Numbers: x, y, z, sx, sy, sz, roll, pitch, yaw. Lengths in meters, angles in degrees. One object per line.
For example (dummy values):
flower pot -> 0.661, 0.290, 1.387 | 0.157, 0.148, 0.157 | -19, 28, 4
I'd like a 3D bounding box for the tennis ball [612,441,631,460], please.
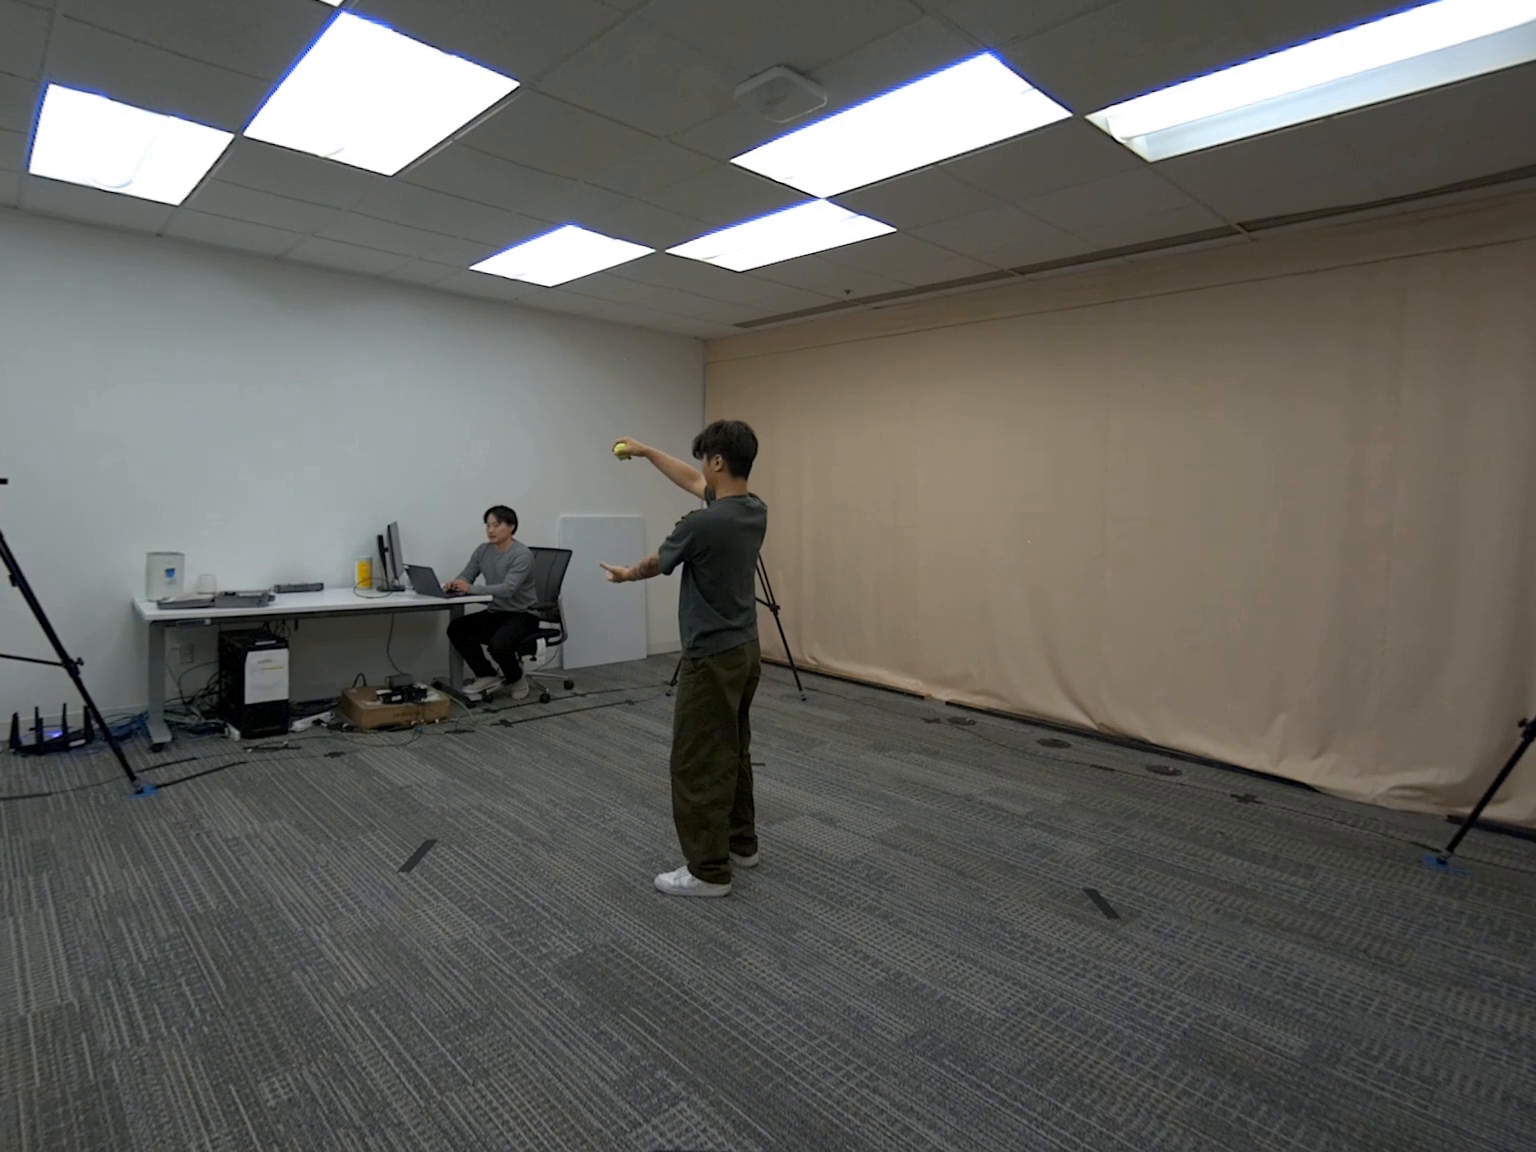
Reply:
tennis ball -> -0.548, -0.501, 3.329 | 0.066, 0.066, 0.067 | 1, 4, -1
